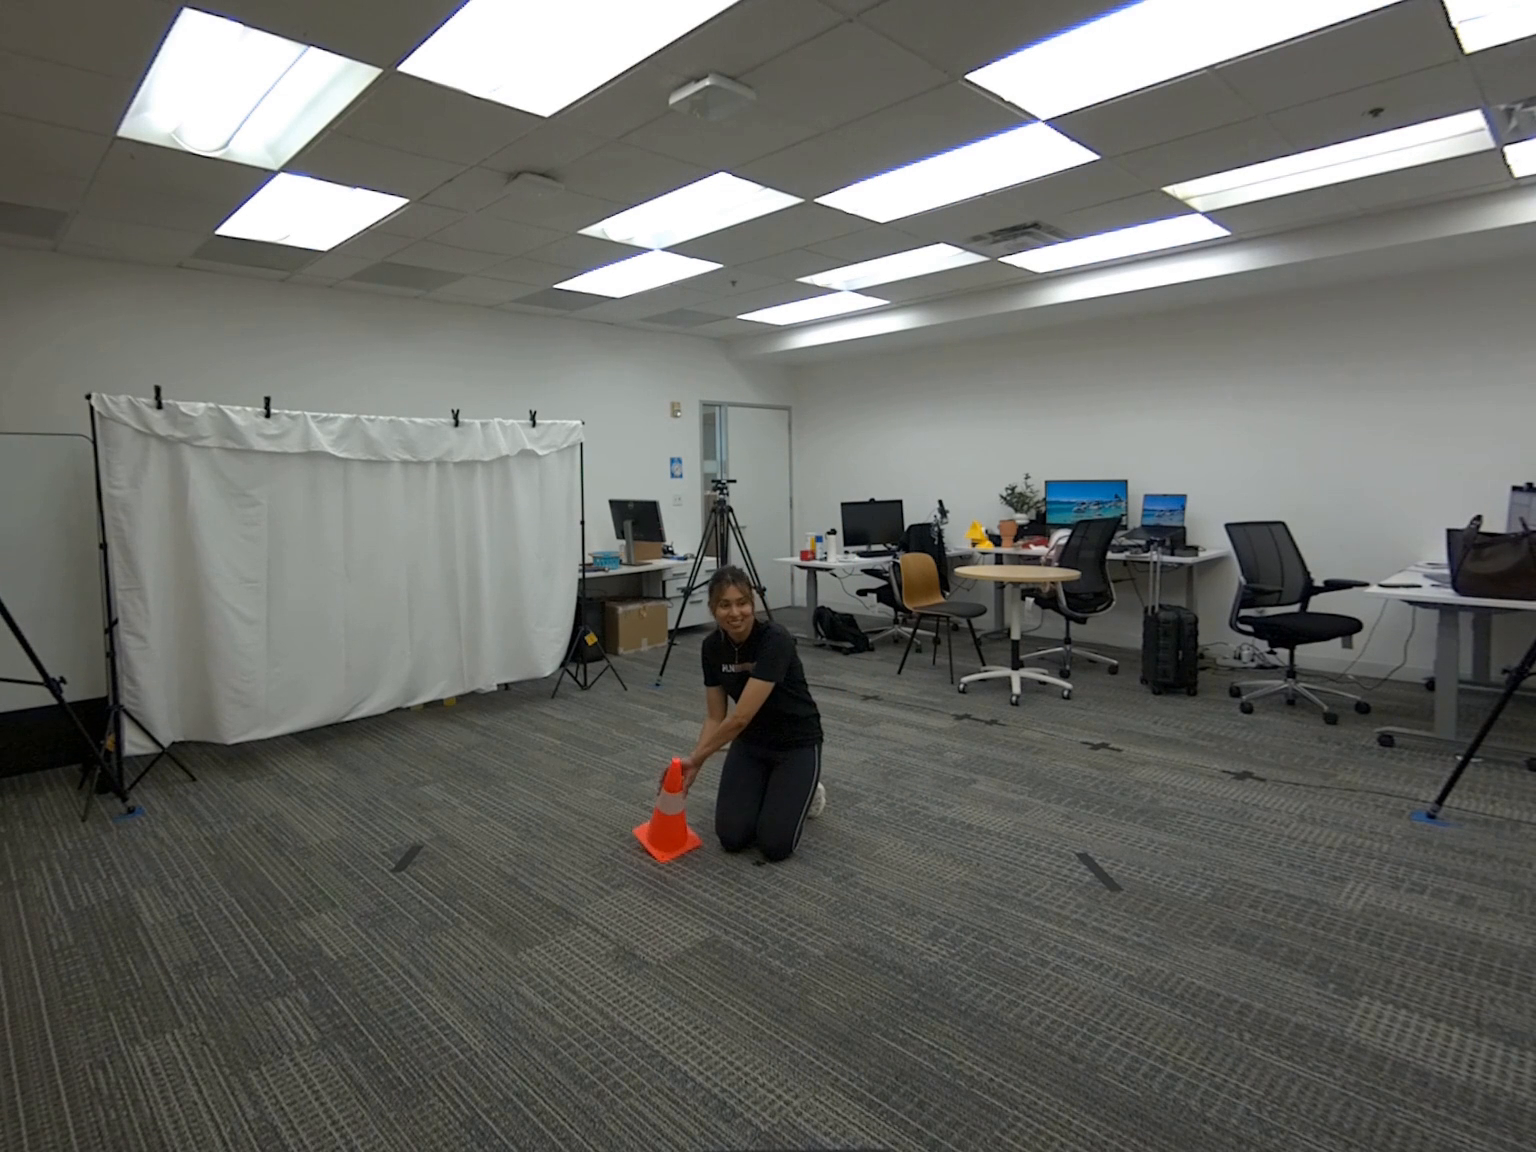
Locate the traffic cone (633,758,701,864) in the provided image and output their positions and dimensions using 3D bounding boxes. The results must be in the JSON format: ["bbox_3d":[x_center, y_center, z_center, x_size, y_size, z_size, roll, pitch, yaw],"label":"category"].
[{"bbox_3d":[-0.360,0.838,3.167,0.212,0.376,0.200,28,34,30],"label":"traffic cone"}]
